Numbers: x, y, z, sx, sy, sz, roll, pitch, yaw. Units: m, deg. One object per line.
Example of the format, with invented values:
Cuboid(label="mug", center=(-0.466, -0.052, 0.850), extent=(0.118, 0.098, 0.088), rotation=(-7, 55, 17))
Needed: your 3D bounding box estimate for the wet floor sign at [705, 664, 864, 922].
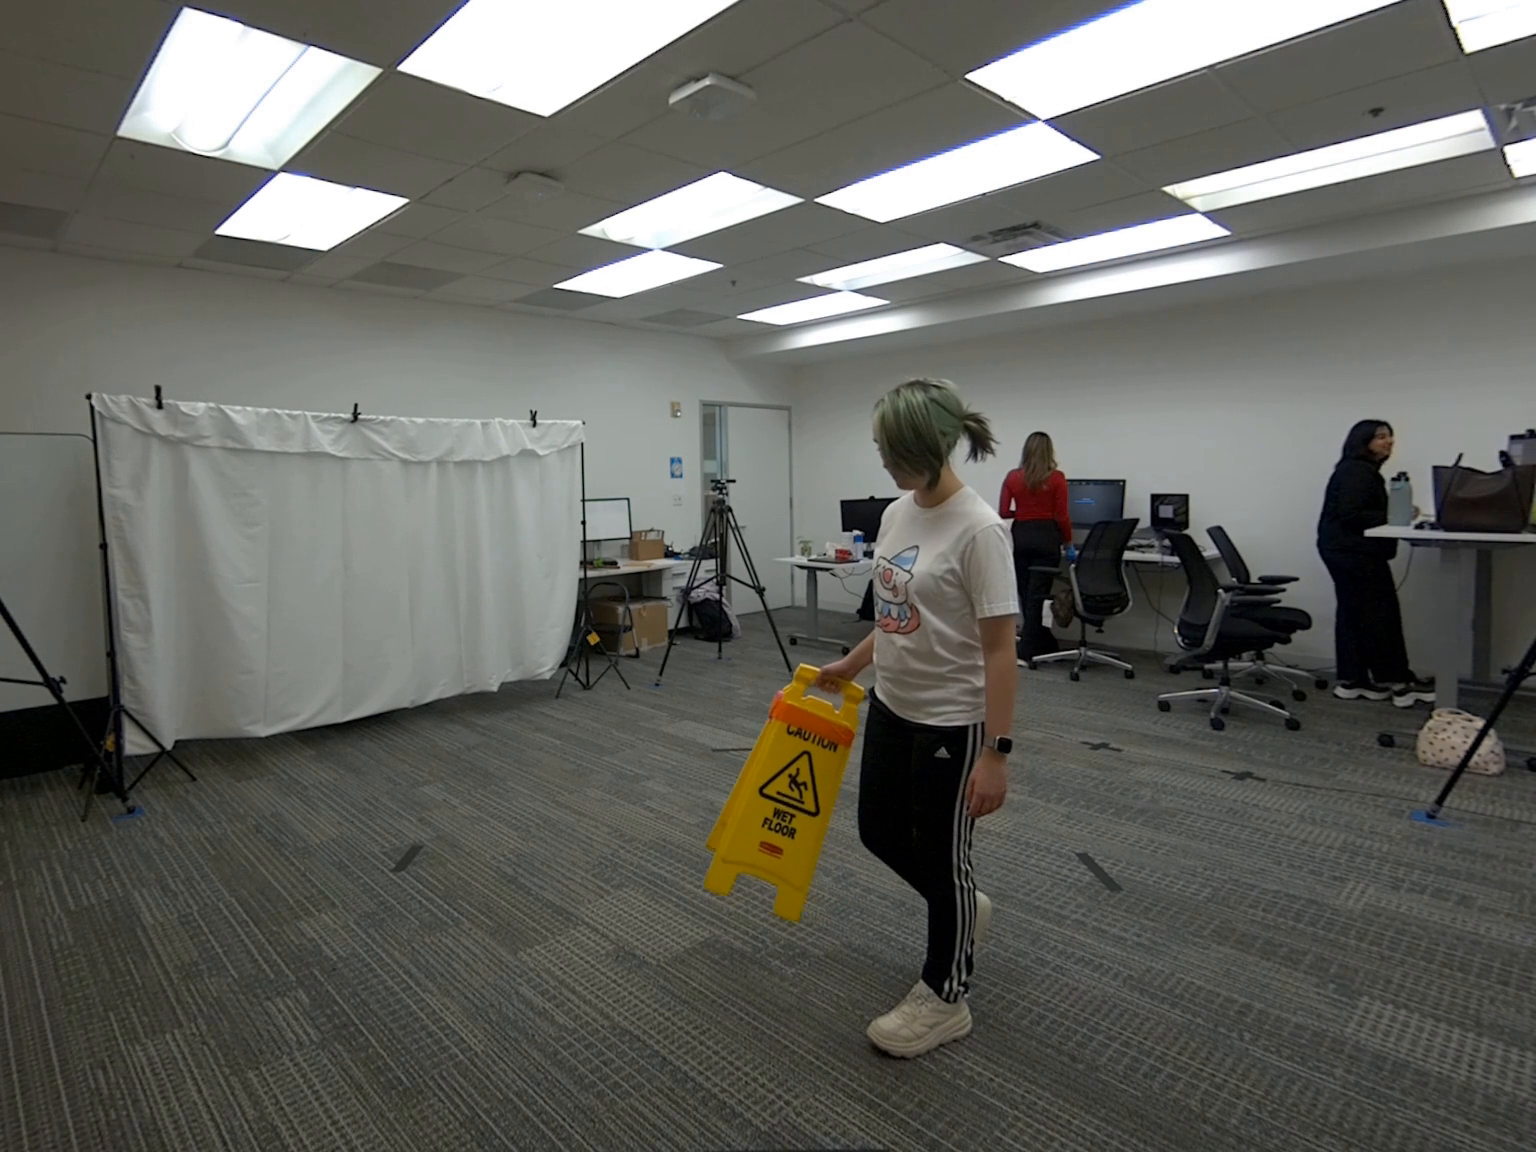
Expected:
Cuboid(label="wet floor sign", center=(0.069, 0.579, 2.408), extent=(0.281, 0.644, 0.292), rotation=(18, 4, -5))
